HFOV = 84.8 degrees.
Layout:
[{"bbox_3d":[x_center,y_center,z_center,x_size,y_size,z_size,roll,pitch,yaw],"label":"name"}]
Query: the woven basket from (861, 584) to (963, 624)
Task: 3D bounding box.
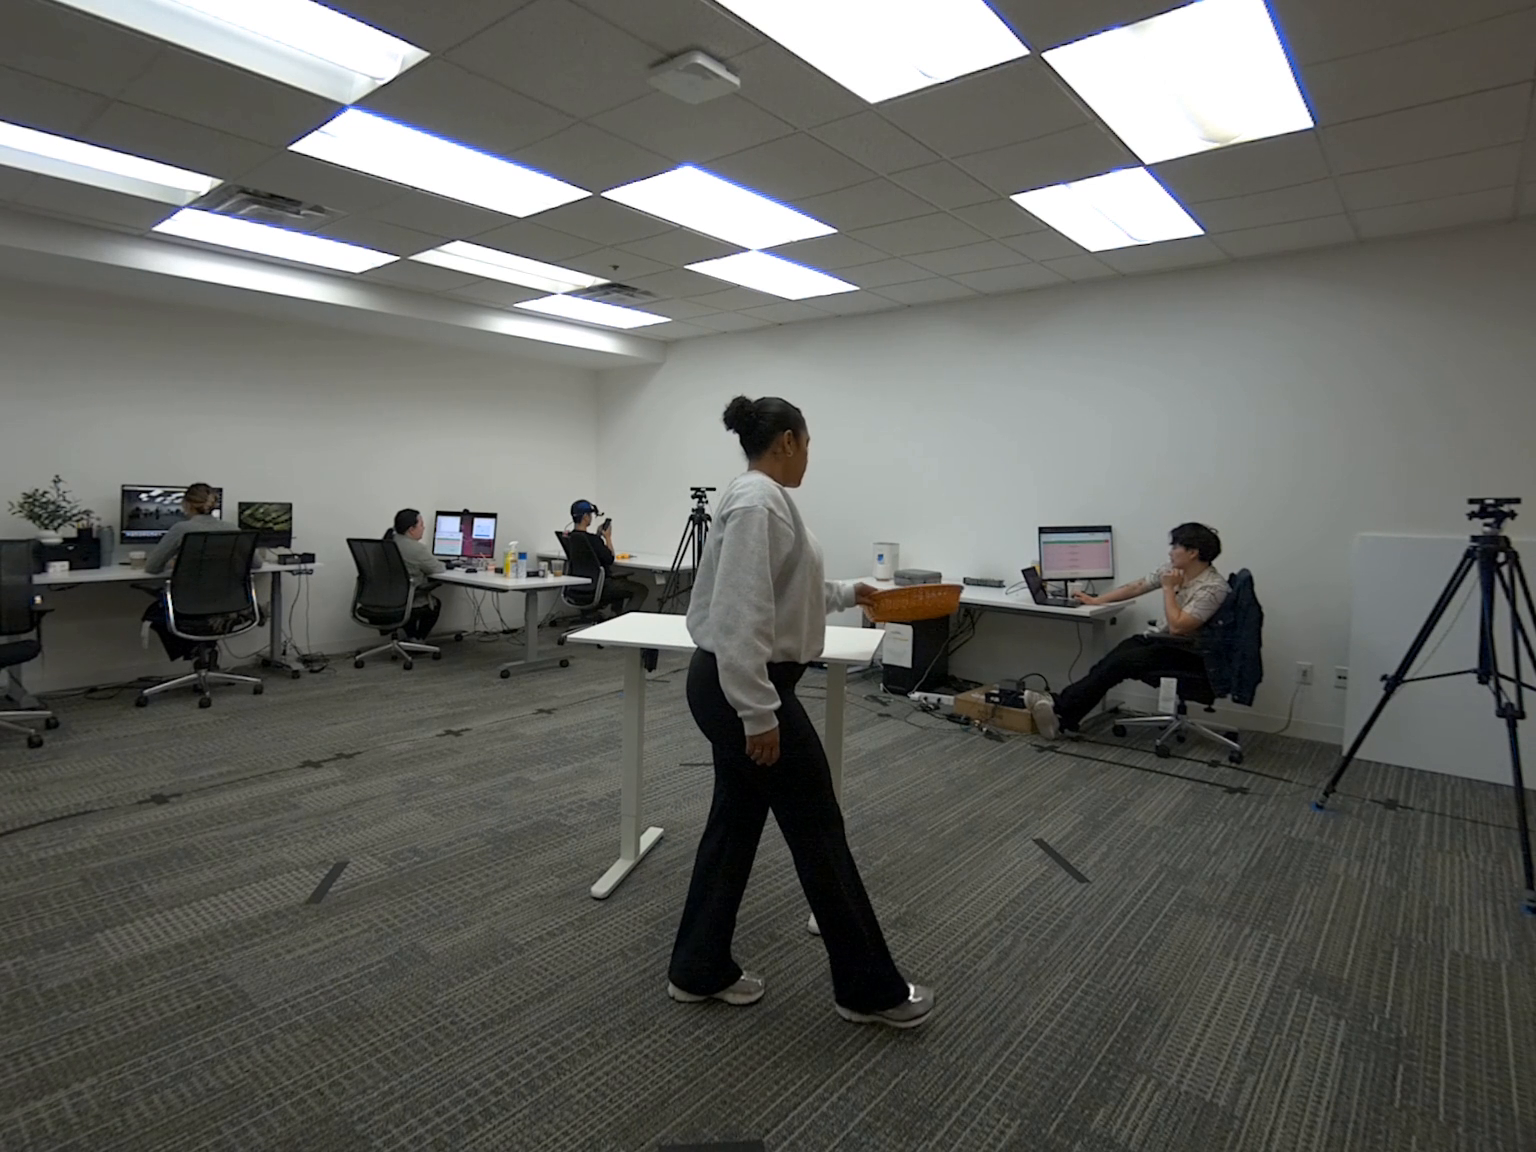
[{"bbox_3d":[0.426,0.102,2.628,0.341,0.074,0.255,0,-14,-30],"label":"woven basket"}]
